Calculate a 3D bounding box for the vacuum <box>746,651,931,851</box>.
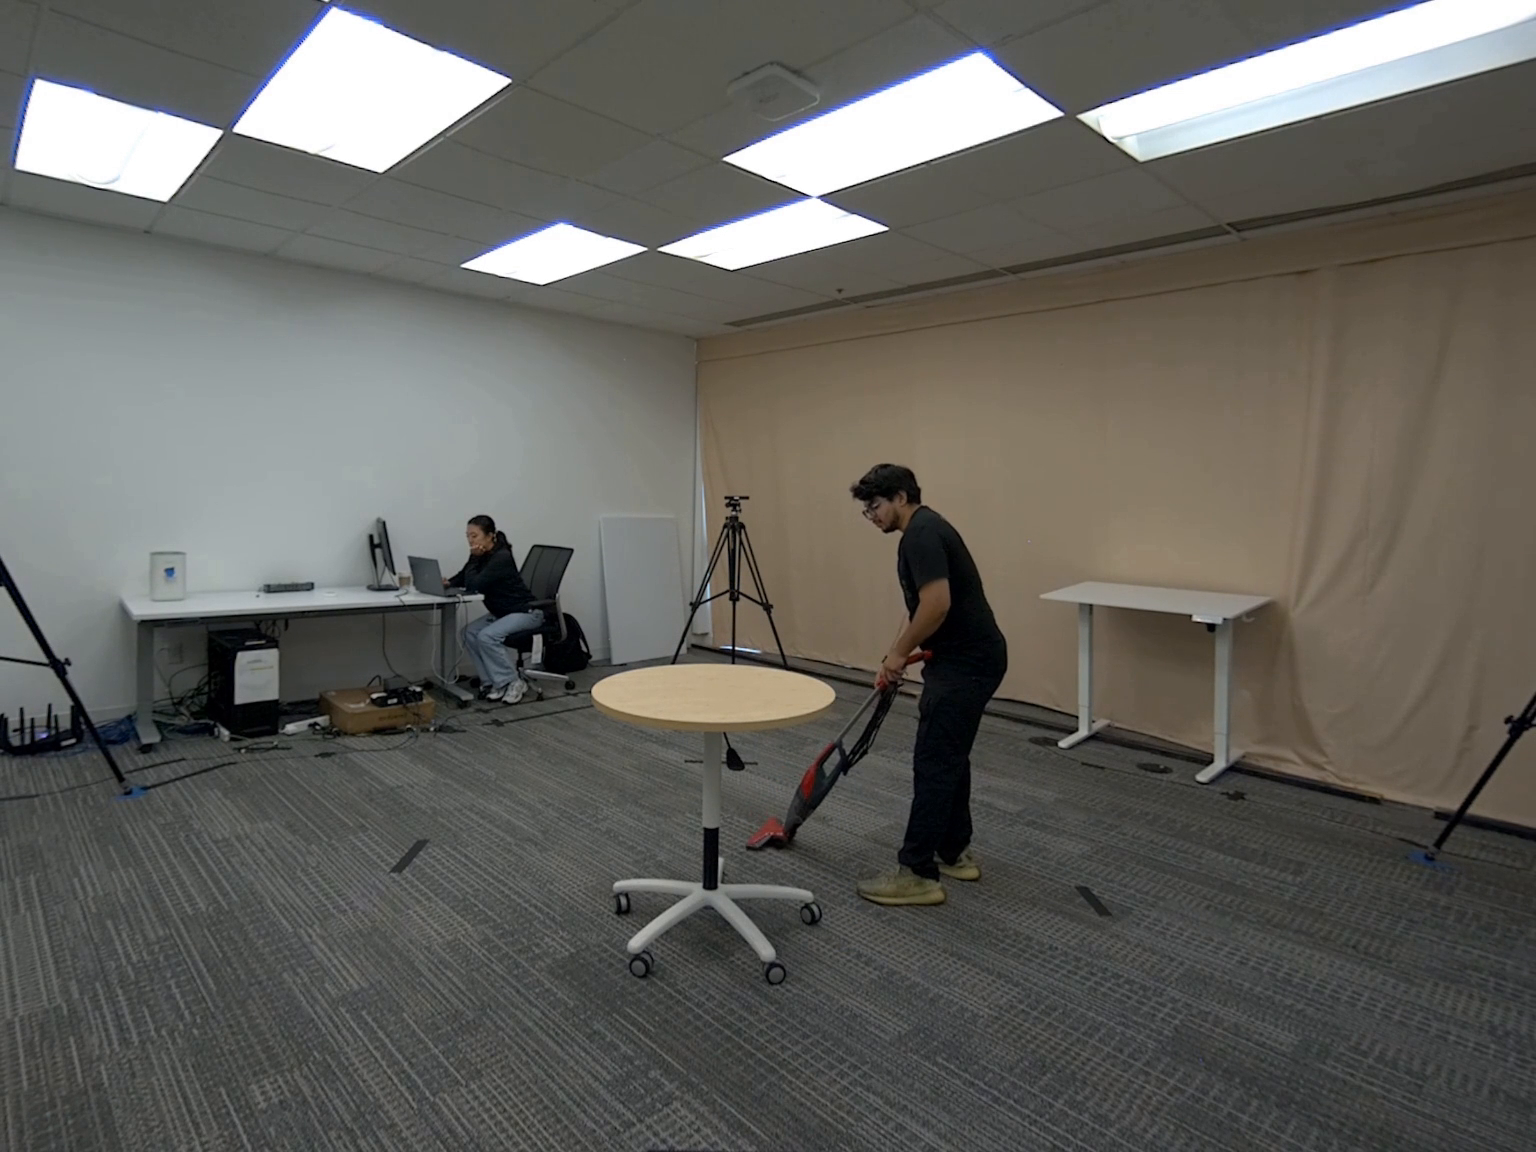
[{"bbox_3d":[0.279,0.666,3.227,0.145,1.046,0.251,38,22,5],"label":"vacuum"}]
